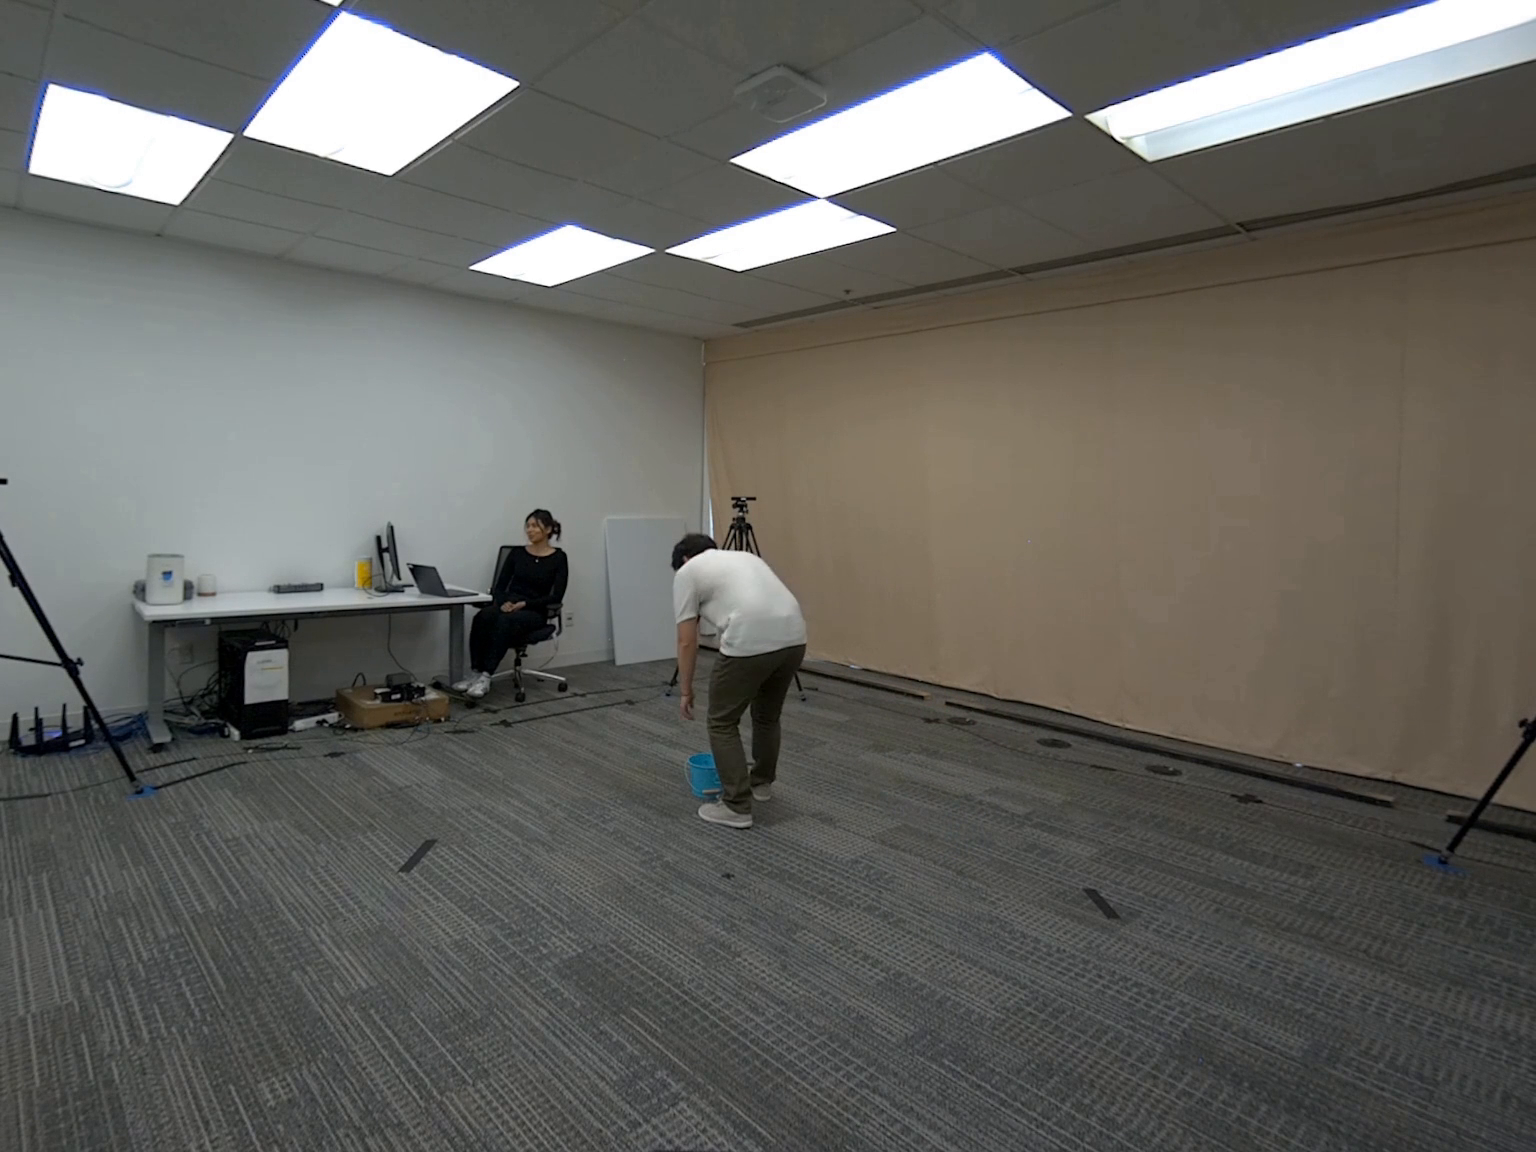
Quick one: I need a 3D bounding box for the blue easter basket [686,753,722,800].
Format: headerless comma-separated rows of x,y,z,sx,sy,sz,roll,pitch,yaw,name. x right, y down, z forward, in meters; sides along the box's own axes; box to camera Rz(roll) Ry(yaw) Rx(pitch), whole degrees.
-0.279,0.946,3.993,0.243,0.155,0.244,0,4,-1,blue easter basket
